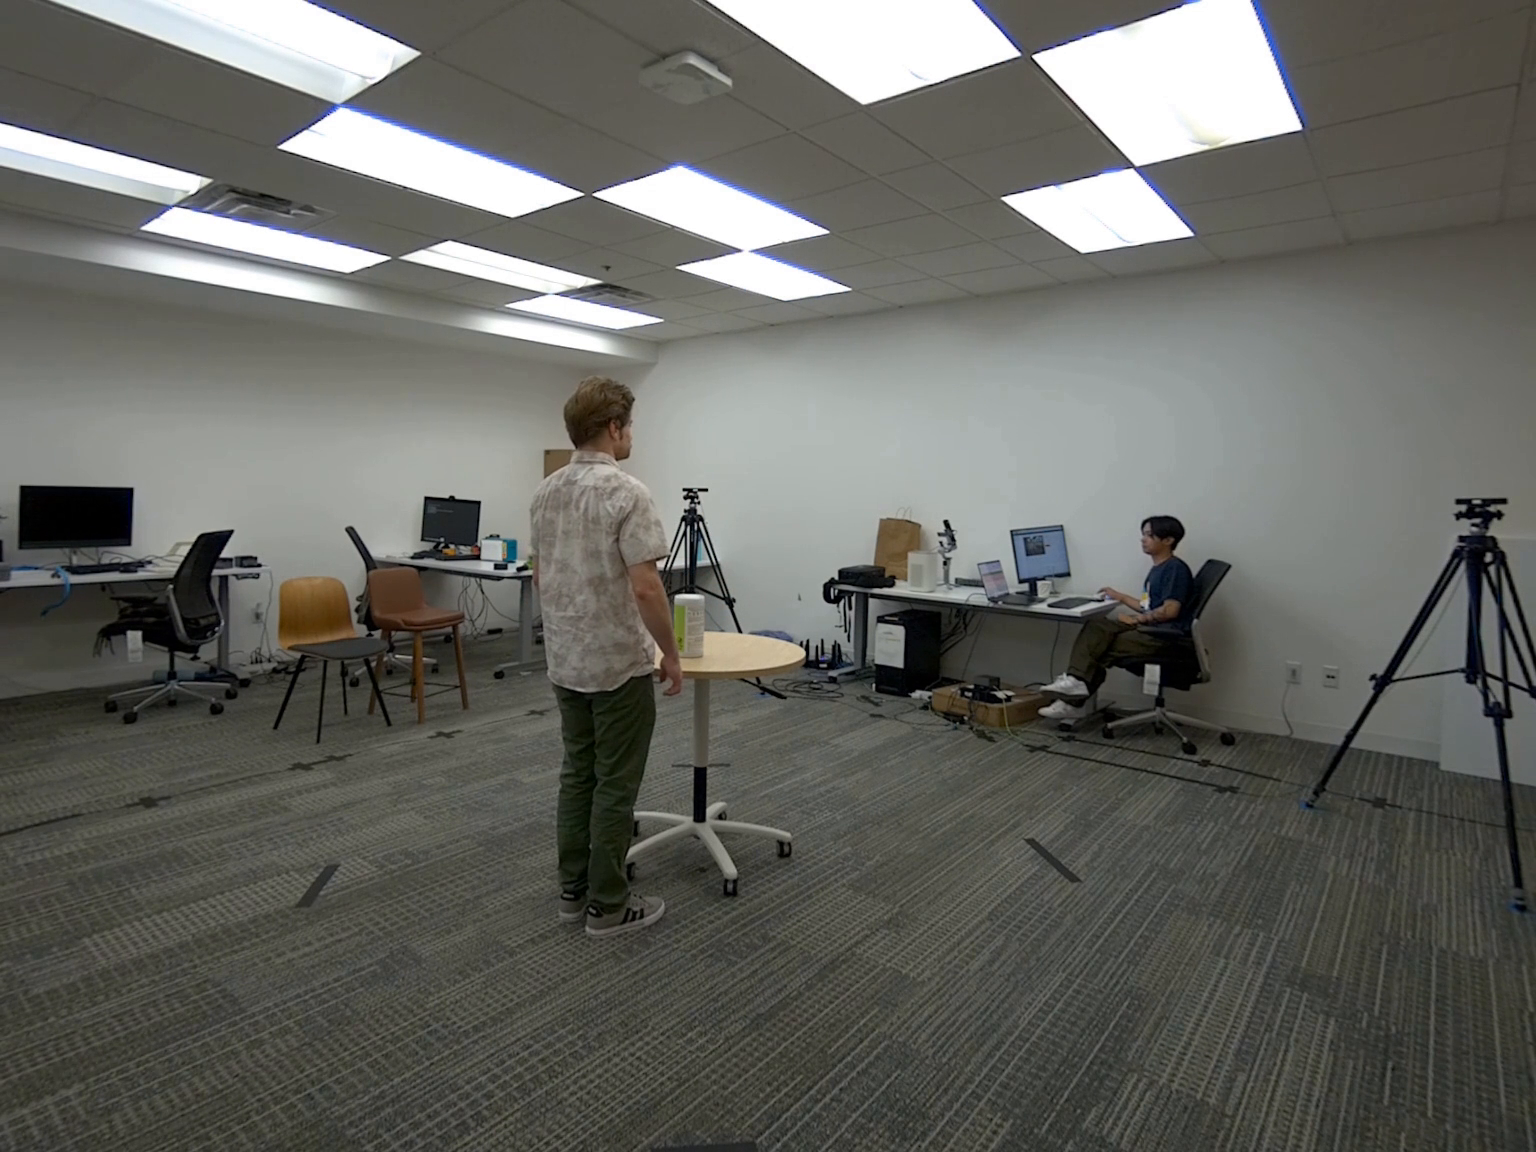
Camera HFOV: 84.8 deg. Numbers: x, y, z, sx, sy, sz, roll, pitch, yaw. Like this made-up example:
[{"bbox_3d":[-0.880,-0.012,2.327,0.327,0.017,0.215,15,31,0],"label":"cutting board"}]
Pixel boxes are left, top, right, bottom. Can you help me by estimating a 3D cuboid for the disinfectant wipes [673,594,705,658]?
[{"bbox_3d":[-0.288,0.176,3.050,0.118,0.216,0.118,-1,4,-2],"label":"disinfectant wipes"}]
